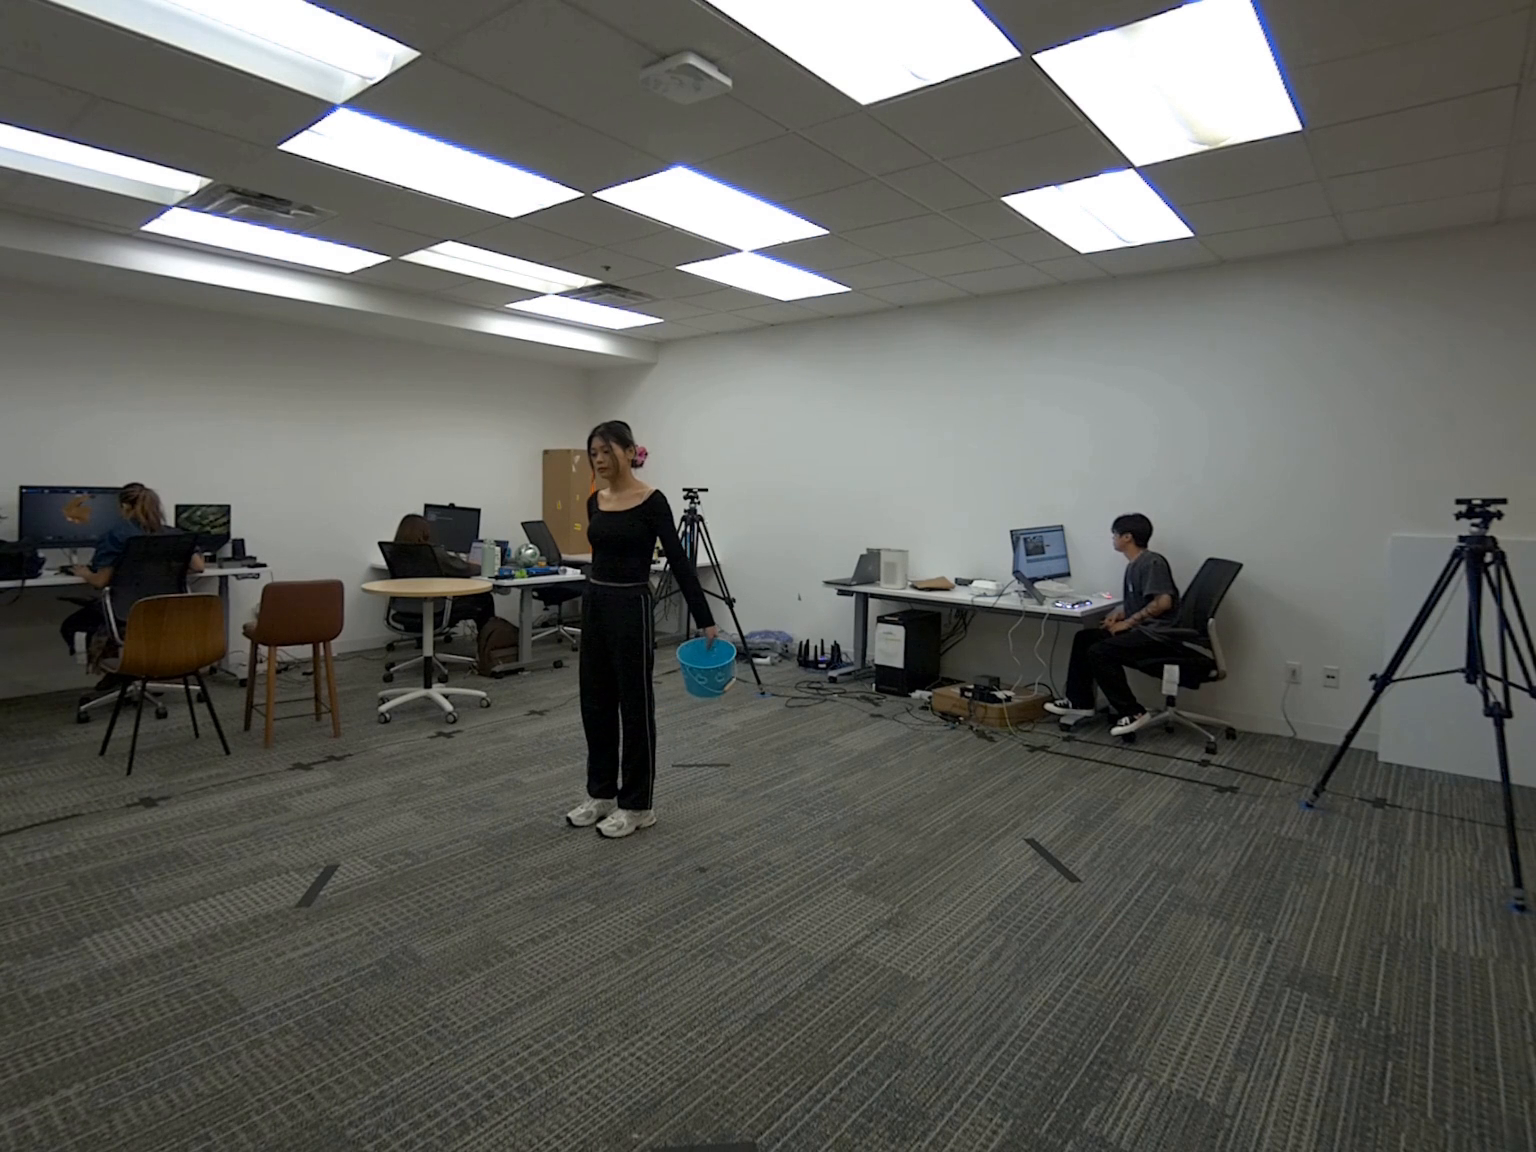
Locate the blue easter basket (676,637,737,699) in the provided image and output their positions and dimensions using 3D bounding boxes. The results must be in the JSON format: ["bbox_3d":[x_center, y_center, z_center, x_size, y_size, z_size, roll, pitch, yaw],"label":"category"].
[{"bbox_3d":[-0.250,0.367,3.333,0.244,0.152,0.249,-3,24,0],"label":"blue easter basket"}]
